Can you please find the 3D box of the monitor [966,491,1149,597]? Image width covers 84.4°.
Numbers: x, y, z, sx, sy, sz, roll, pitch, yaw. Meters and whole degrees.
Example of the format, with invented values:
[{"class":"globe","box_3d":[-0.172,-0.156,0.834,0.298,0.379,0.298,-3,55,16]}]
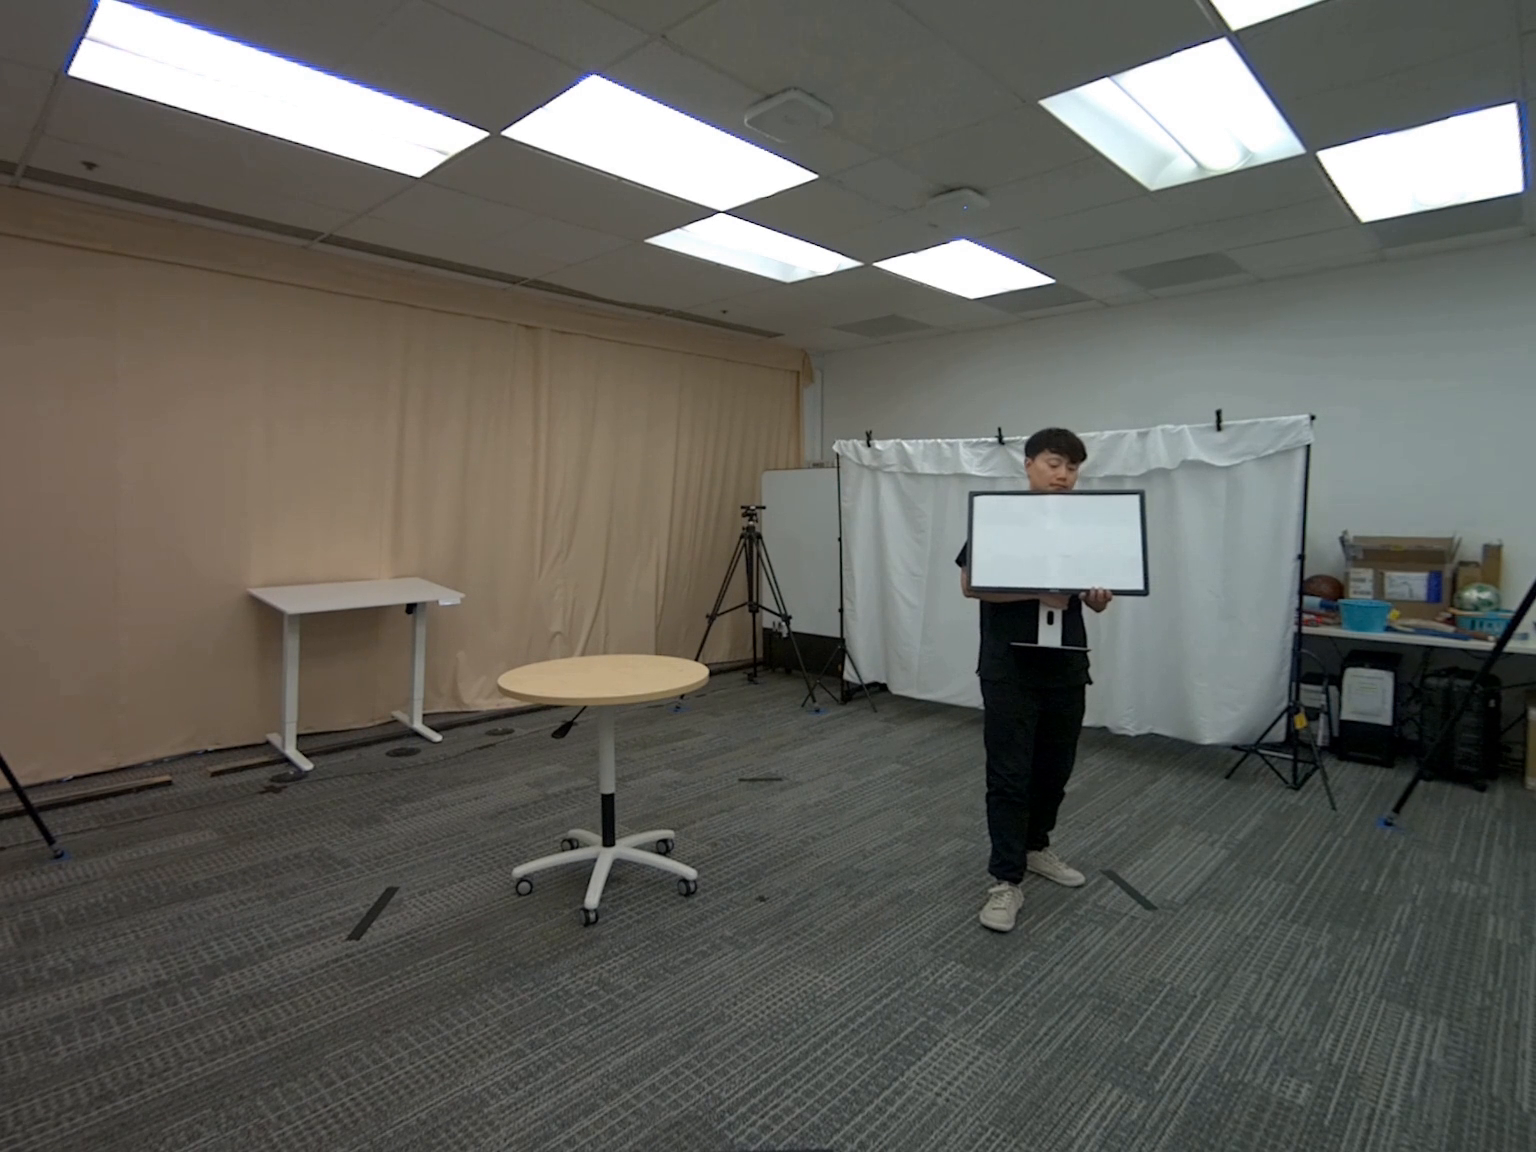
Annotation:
[{"class":"monitor","box_3d":[0.957,-0.019,2.836,0.549,0.524,0.183,2,-7,18]}]
